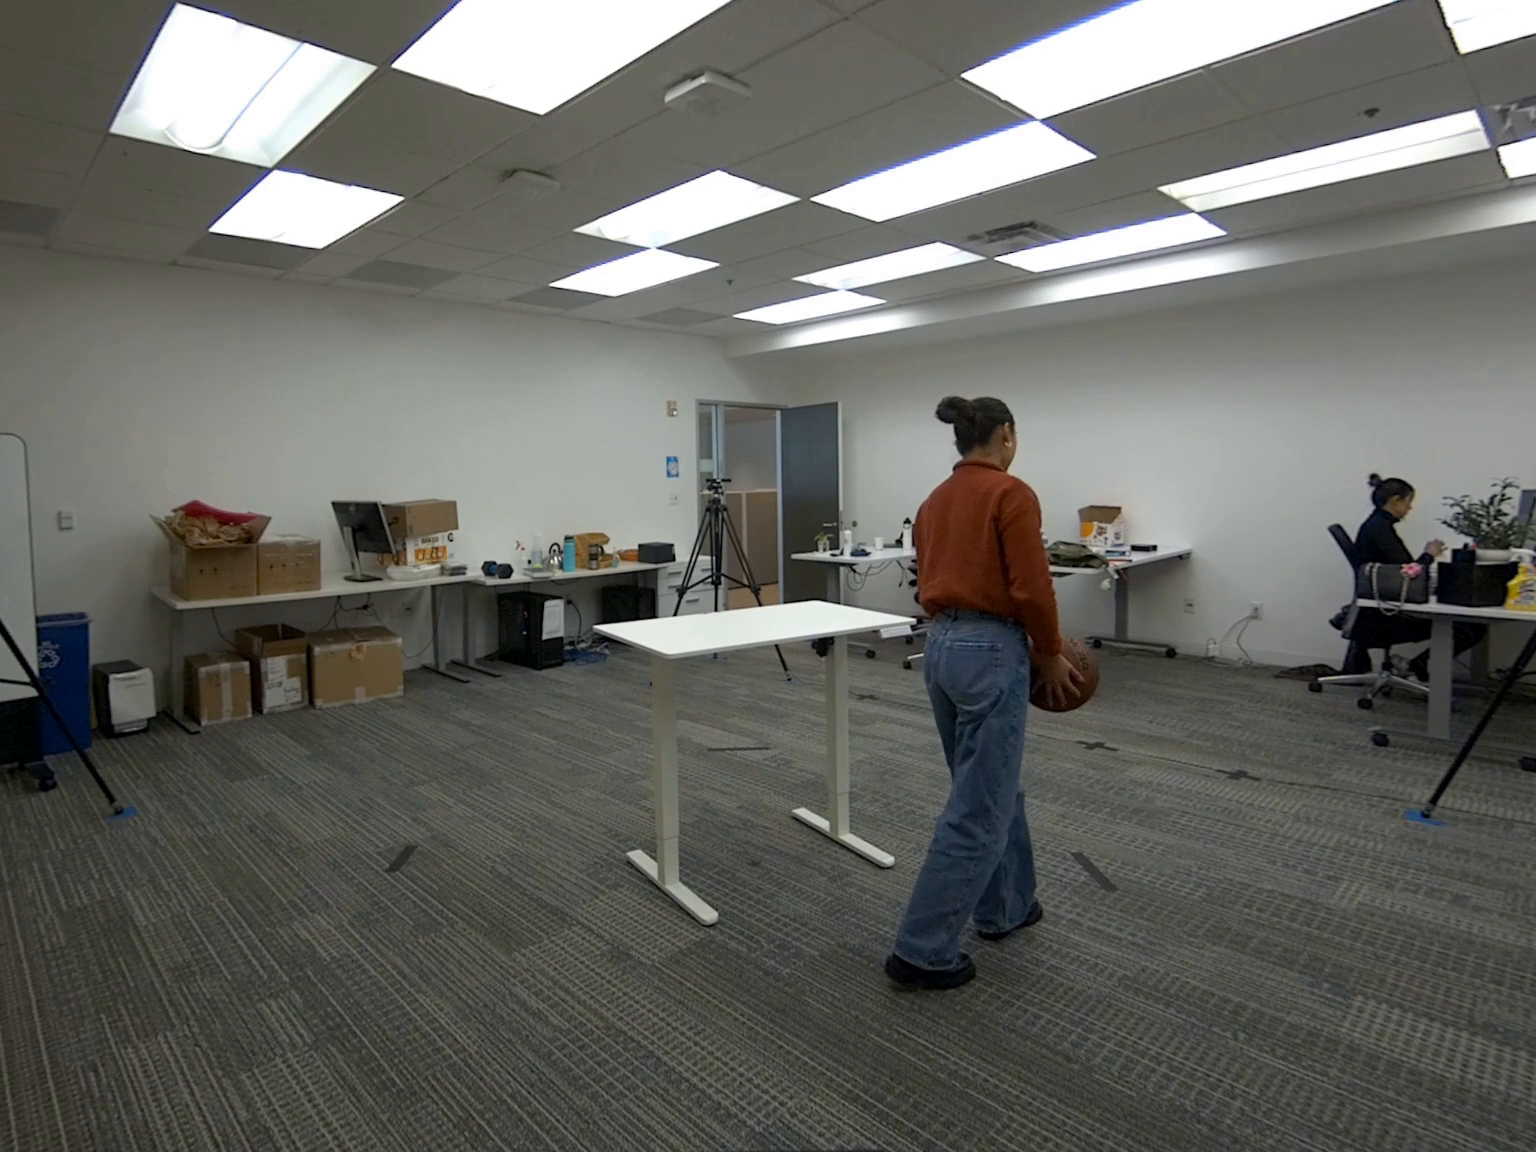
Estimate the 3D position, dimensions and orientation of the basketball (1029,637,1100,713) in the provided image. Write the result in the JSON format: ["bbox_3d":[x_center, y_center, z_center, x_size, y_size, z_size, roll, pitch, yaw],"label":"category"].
[{"bbox_3d":[0.836,0.275,2.511,0.236,0.235,0.237,-1,5,-2],"label":"basketball"}]
